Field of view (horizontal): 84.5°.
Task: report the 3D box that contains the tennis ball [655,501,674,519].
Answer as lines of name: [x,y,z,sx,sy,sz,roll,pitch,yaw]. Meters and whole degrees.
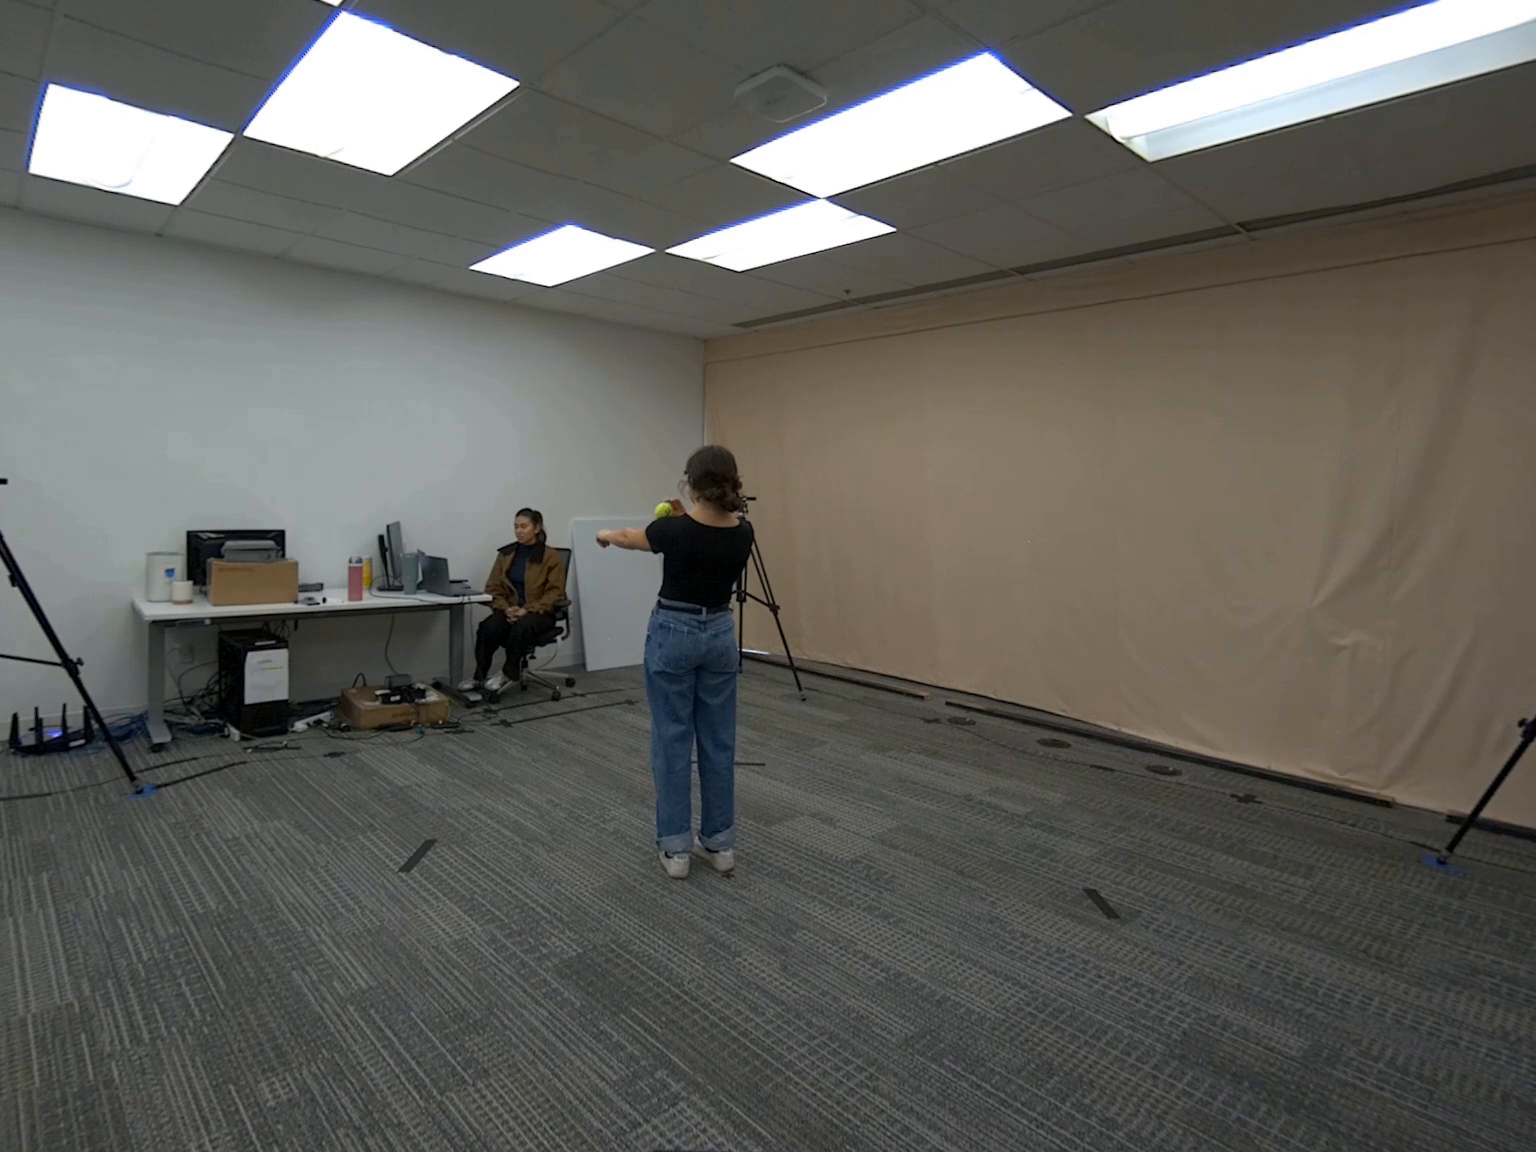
tennis ball: [-0.390,-0.237,3.108,0.066,0.066,0.067,1,4,-1]
